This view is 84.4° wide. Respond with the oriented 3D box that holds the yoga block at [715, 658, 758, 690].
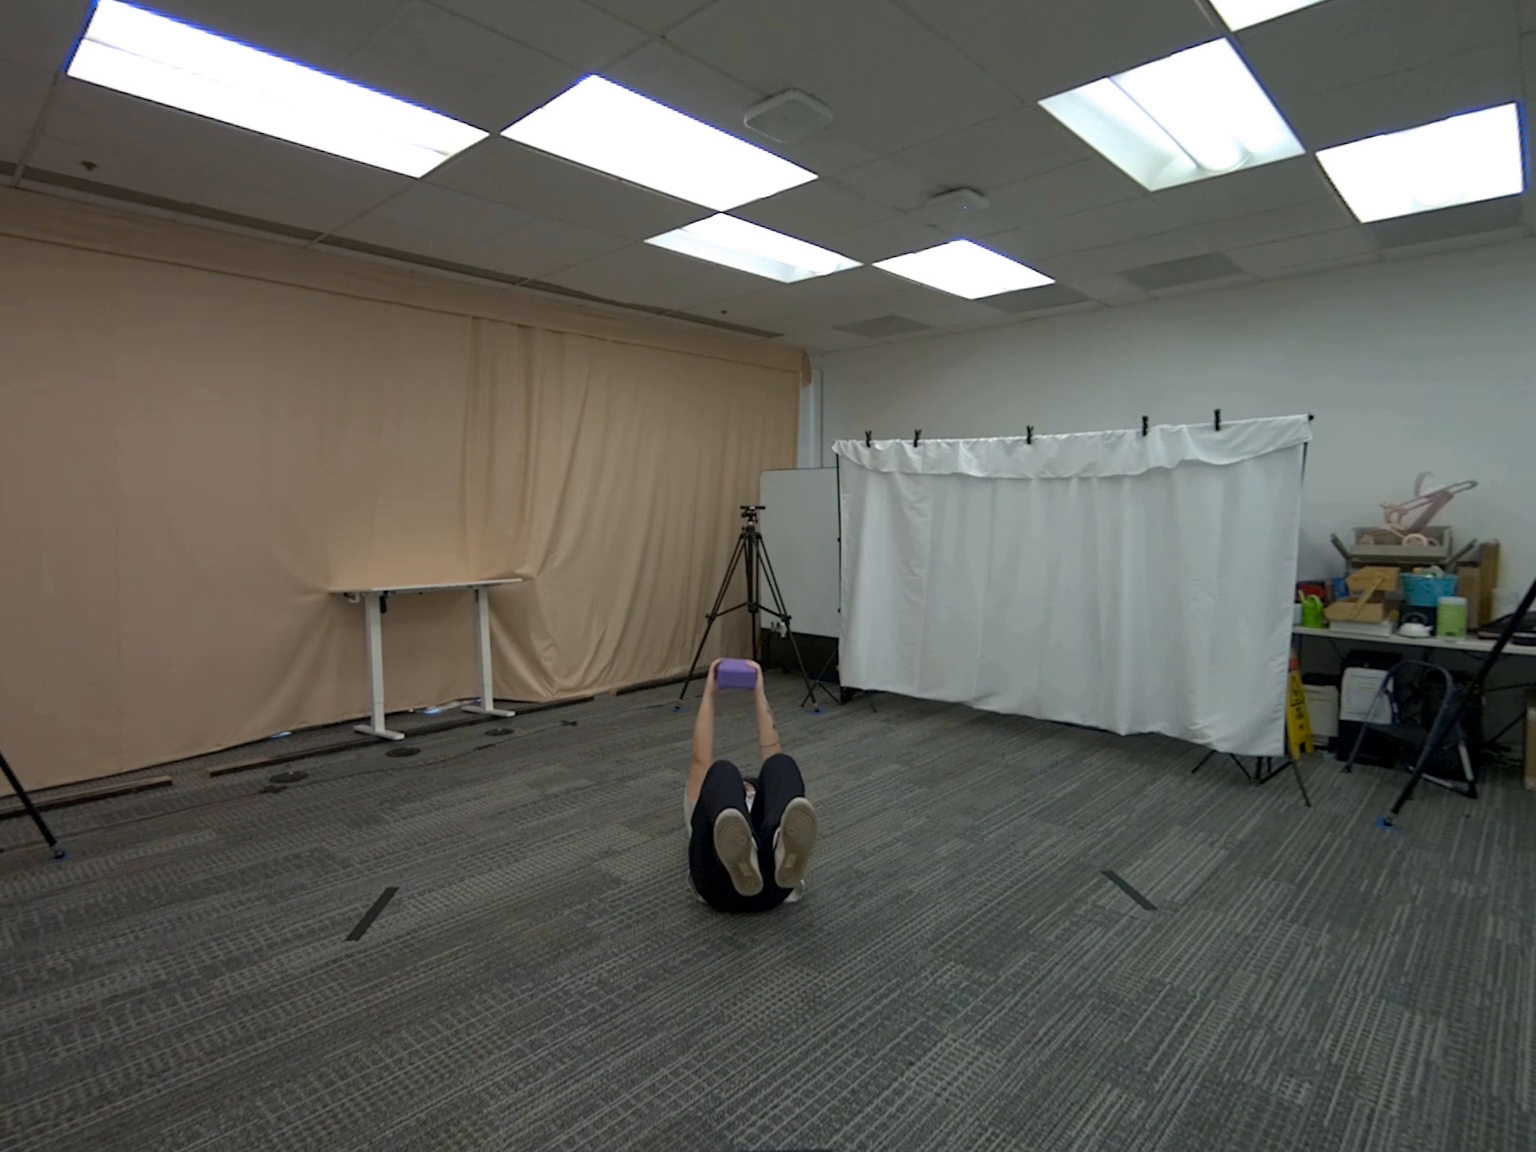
[{"bbox_3d":[-0.121,0.398,3.446,0.149,0.076,0.230,2,5,-3],"label":"yoga block"}]
